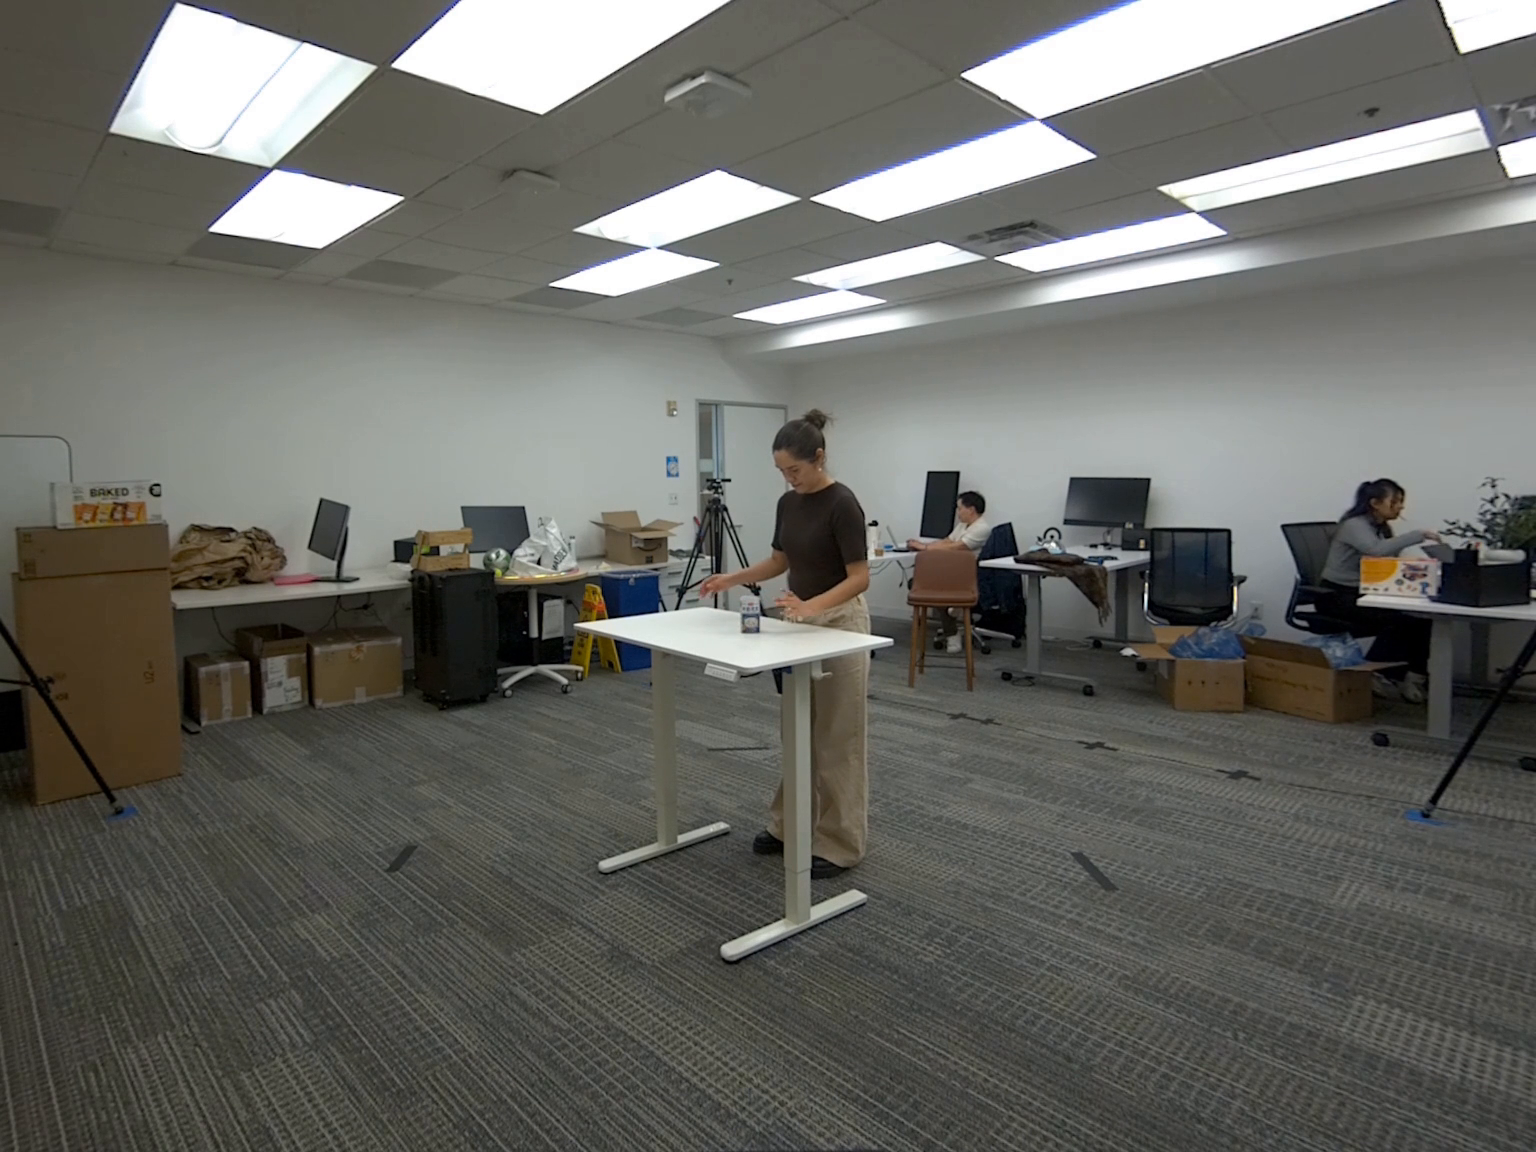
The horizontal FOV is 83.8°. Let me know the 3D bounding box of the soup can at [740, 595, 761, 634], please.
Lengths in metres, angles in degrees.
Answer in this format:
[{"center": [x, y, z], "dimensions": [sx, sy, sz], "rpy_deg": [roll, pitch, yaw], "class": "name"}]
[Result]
[{"center": [-0.058, 0.132, 2.858], "dimensions": [0.067, 0.121, 0.067], "rpy_deg": [-1, 4, -2], "class": "soup can"}]
